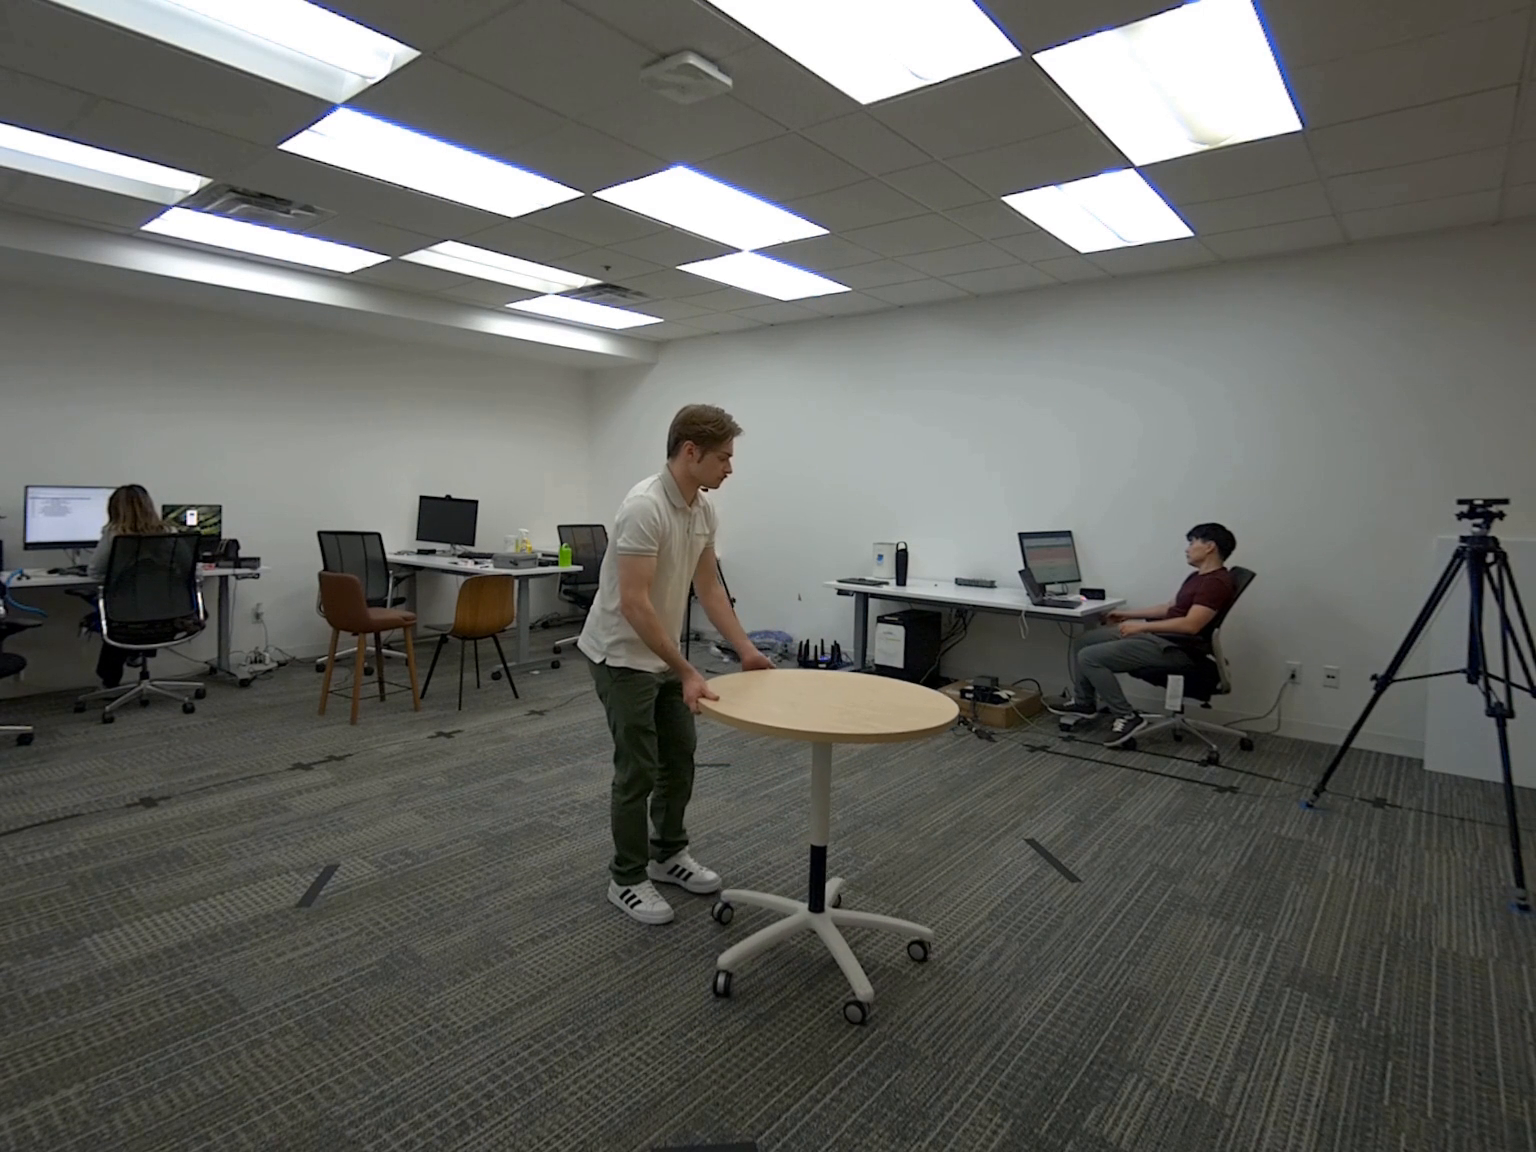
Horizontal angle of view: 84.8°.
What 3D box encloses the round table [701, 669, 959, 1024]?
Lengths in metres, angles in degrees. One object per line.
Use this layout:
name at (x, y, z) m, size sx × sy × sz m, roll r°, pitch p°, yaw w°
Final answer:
round table at (0.146, 0.745, 2.530) m, size 0.763 × 0.791 × 0.768 m, roll 2°, pitch 5°, yaw -2°
